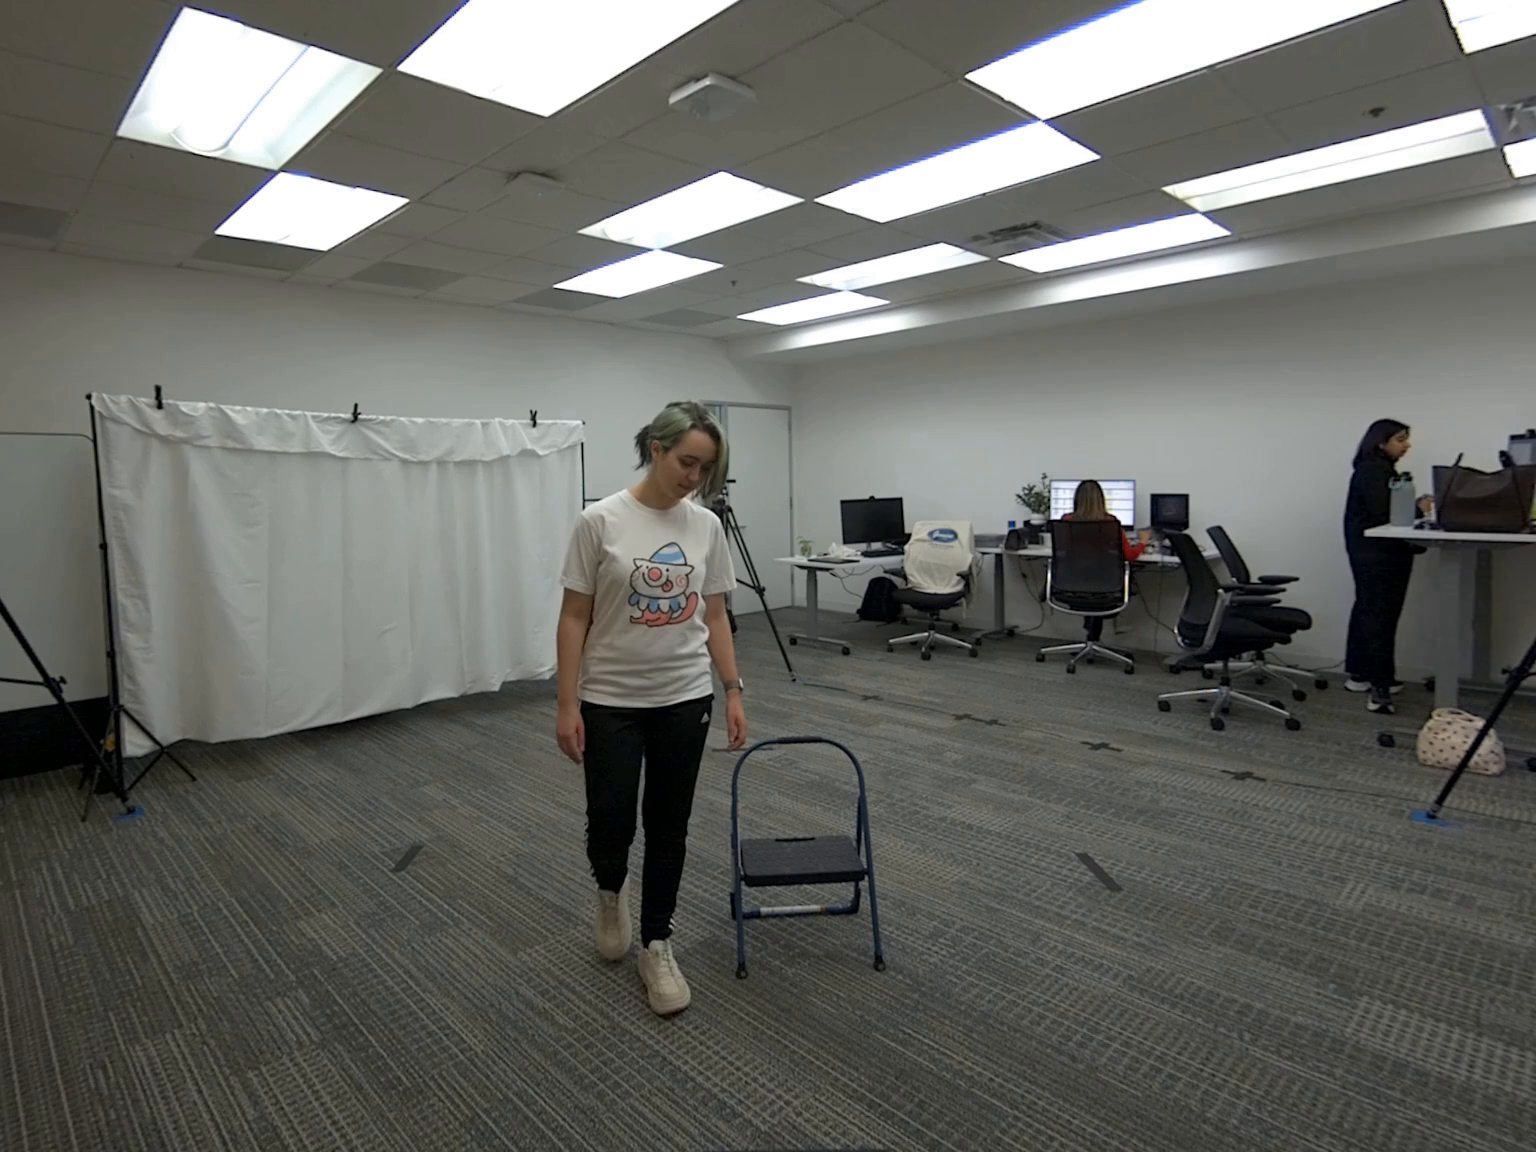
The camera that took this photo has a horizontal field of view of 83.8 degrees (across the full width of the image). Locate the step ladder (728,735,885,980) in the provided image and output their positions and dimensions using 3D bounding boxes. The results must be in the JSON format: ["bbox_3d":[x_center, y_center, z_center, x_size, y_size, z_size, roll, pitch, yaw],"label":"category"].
[{"bbox_3d":[0.104,0.807,2.565,0.429,0.603,0.352,-1,5,-5],"label":"step ladder"}]
